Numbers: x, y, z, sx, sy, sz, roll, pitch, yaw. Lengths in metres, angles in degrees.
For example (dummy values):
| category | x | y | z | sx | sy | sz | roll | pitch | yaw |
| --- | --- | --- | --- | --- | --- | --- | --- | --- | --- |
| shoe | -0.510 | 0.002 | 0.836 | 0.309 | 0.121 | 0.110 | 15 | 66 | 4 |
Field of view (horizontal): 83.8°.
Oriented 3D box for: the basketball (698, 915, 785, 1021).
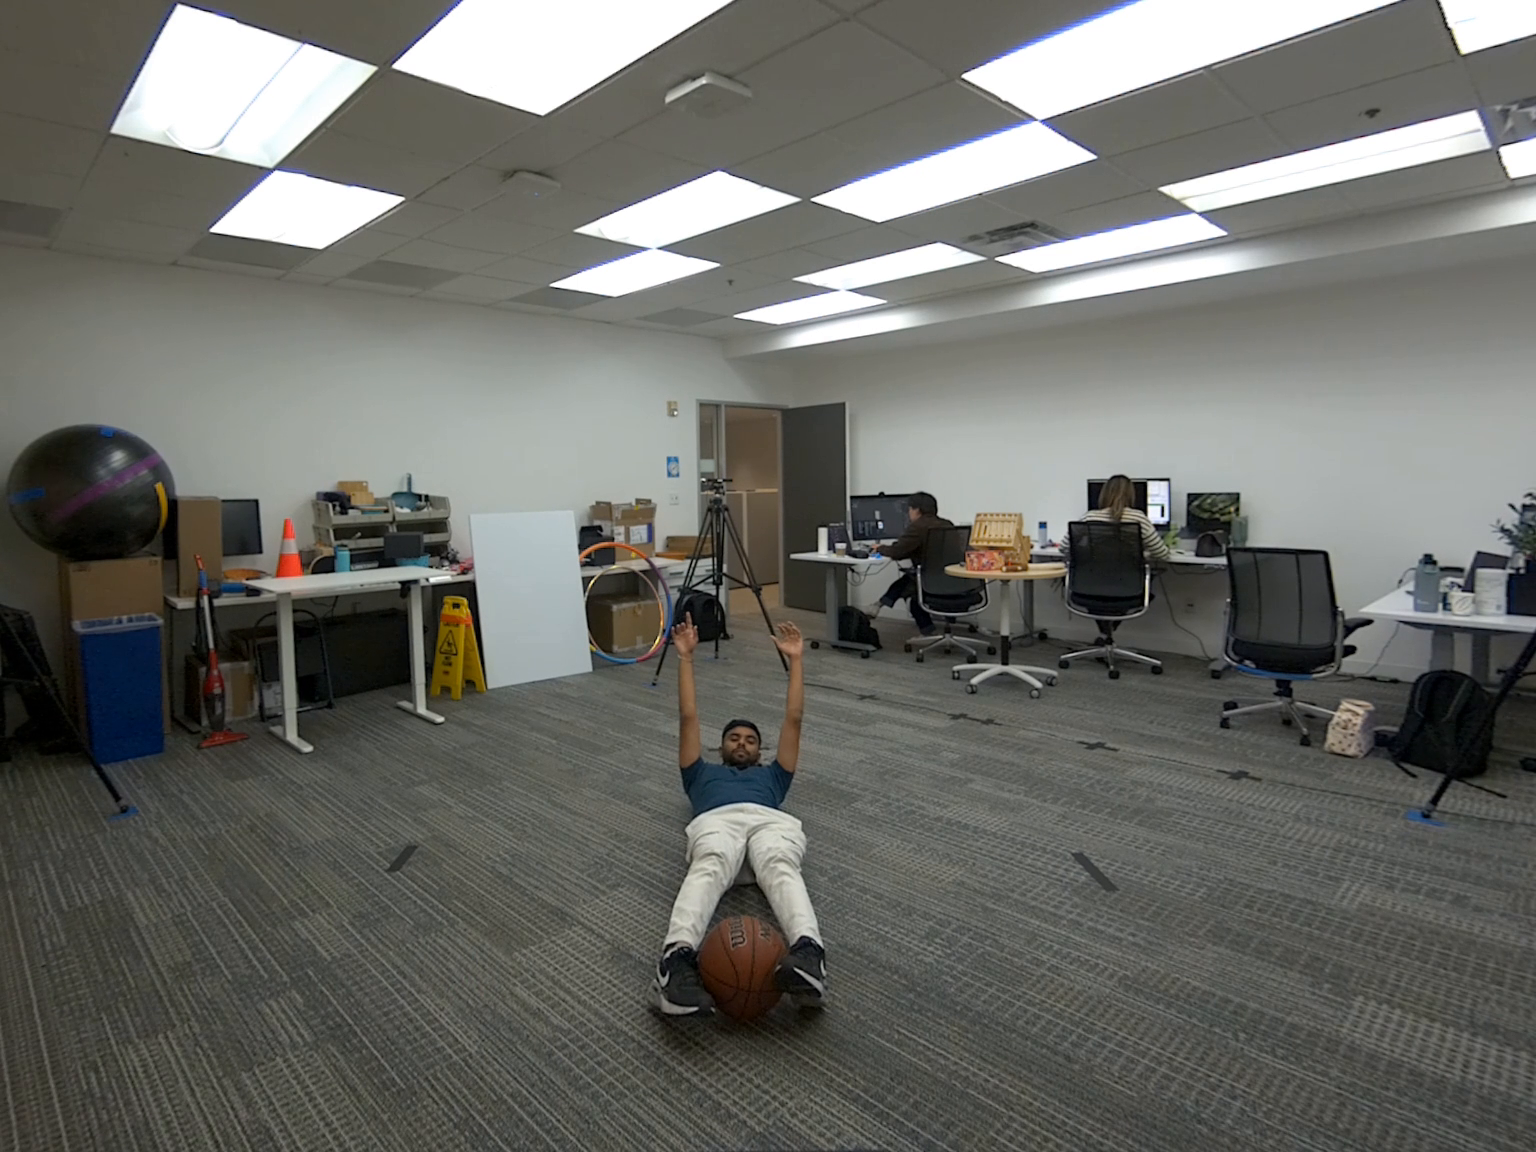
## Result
| category | x | y | z | sx | sy | sz | roll | pitch | yaw |
| --- | --- | --- | --- | --- | --- | --- | --- | --- | --- |
| basketball | -0.056 | 1.021 | 2.214 | 0.236 | 0.235 | 0.237 | -1 | 5 | -2 |
